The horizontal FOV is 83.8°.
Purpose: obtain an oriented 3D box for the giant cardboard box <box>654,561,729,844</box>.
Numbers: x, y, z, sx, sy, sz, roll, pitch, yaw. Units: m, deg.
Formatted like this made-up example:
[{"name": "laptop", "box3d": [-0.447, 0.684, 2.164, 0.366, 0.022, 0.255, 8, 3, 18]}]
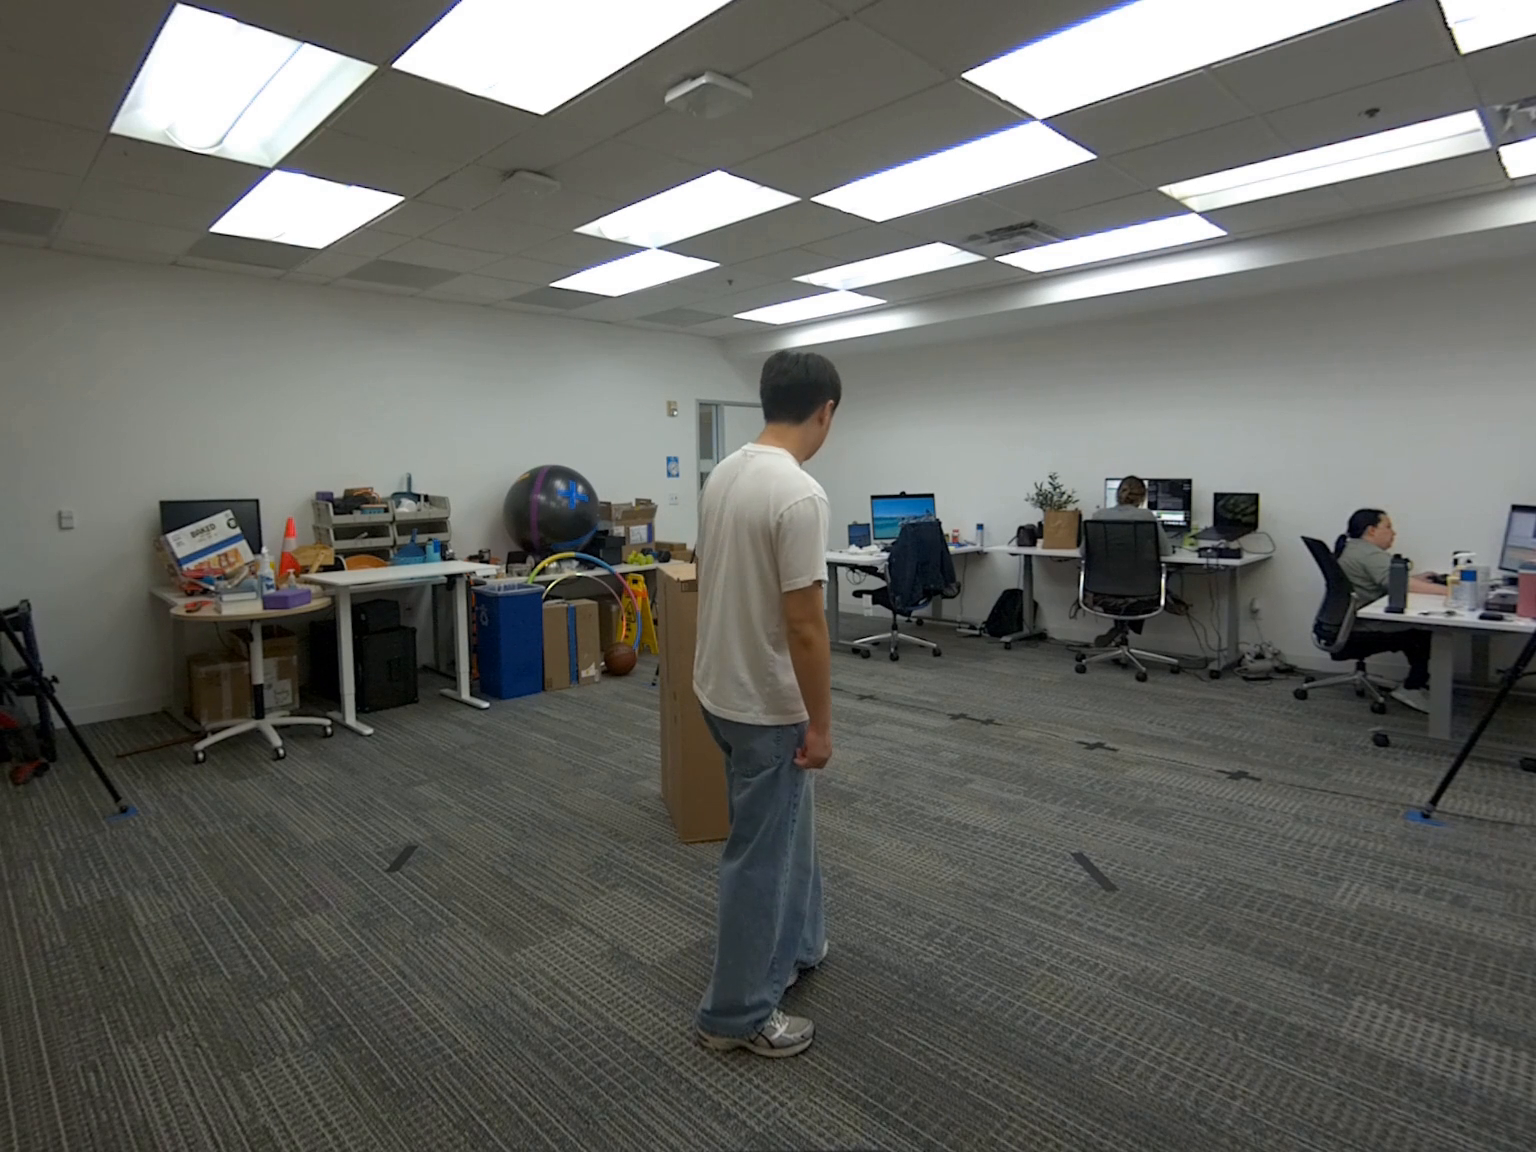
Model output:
[{"name": "giant cardboard box", "box3d": [-0.208, 0.484, 3.565, 0.420, 1.022, 0.587, -2, 4, -15]}]
